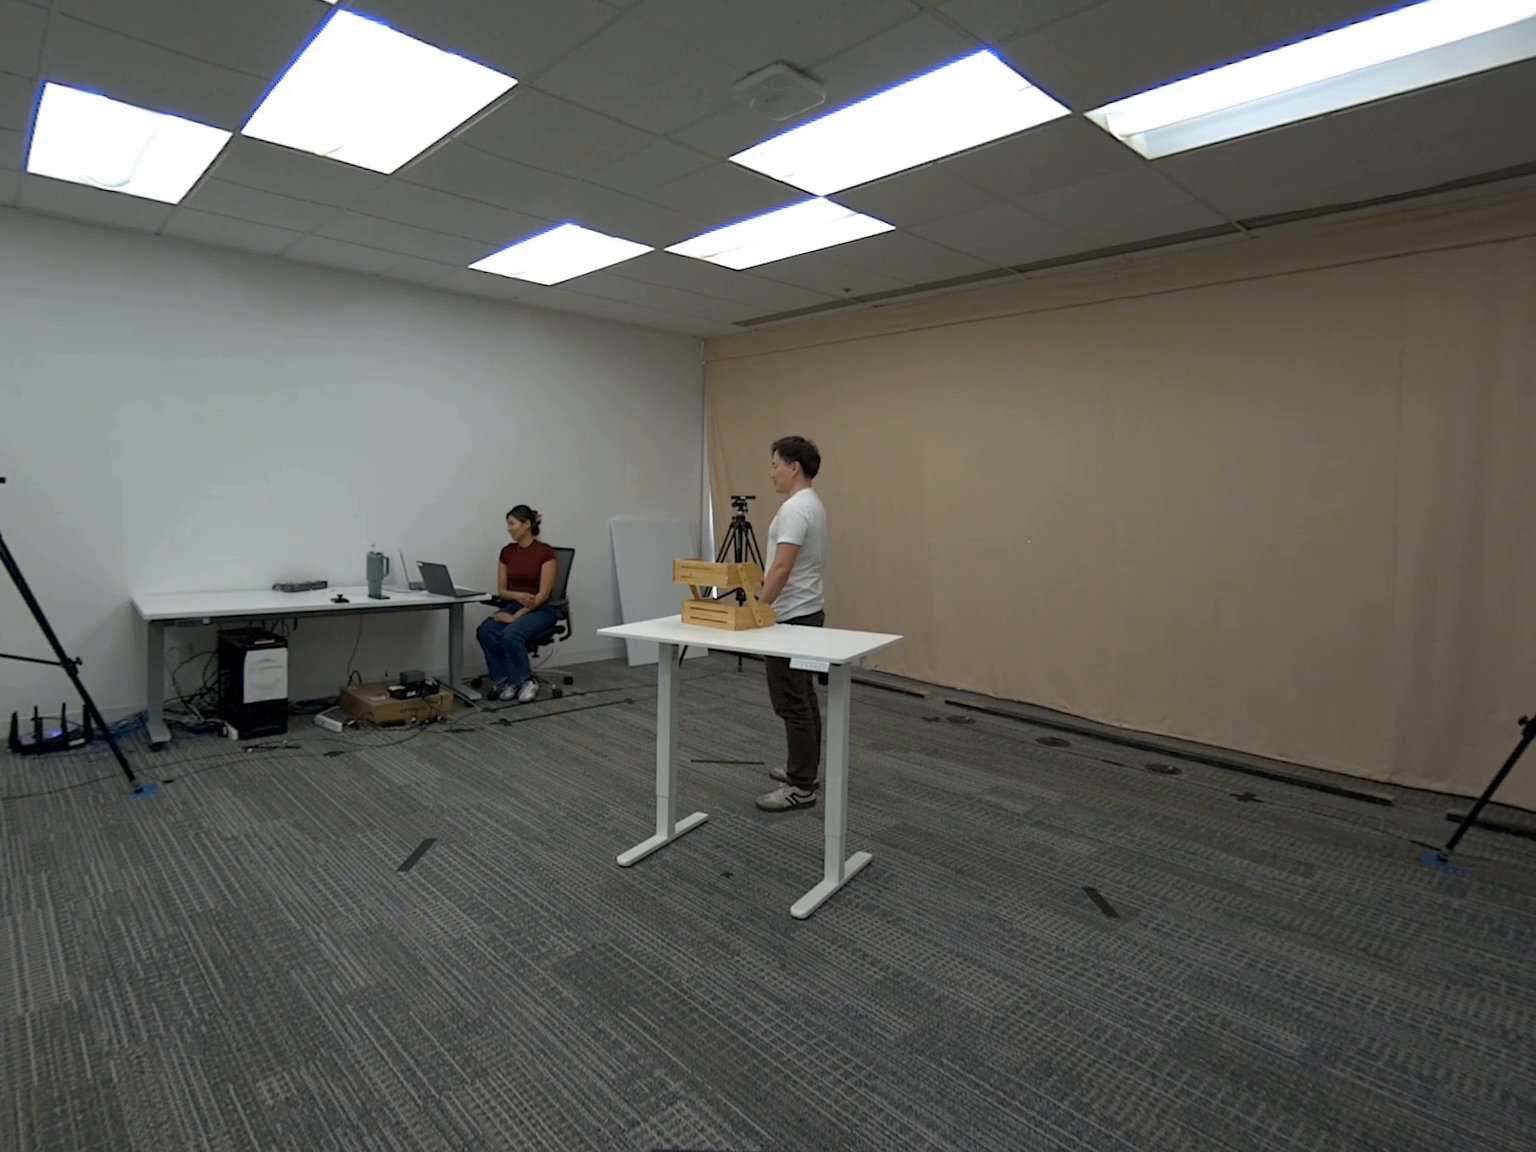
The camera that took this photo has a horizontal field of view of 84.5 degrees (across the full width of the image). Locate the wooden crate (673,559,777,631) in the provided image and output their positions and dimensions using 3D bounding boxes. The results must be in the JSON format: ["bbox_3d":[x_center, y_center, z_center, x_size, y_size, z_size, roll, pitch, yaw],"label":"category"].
[{"bbox_3d":[-0.175,0.063,3.385,0.332,0.272,0.295,4,6,41],"label":"wooden crate"}]
